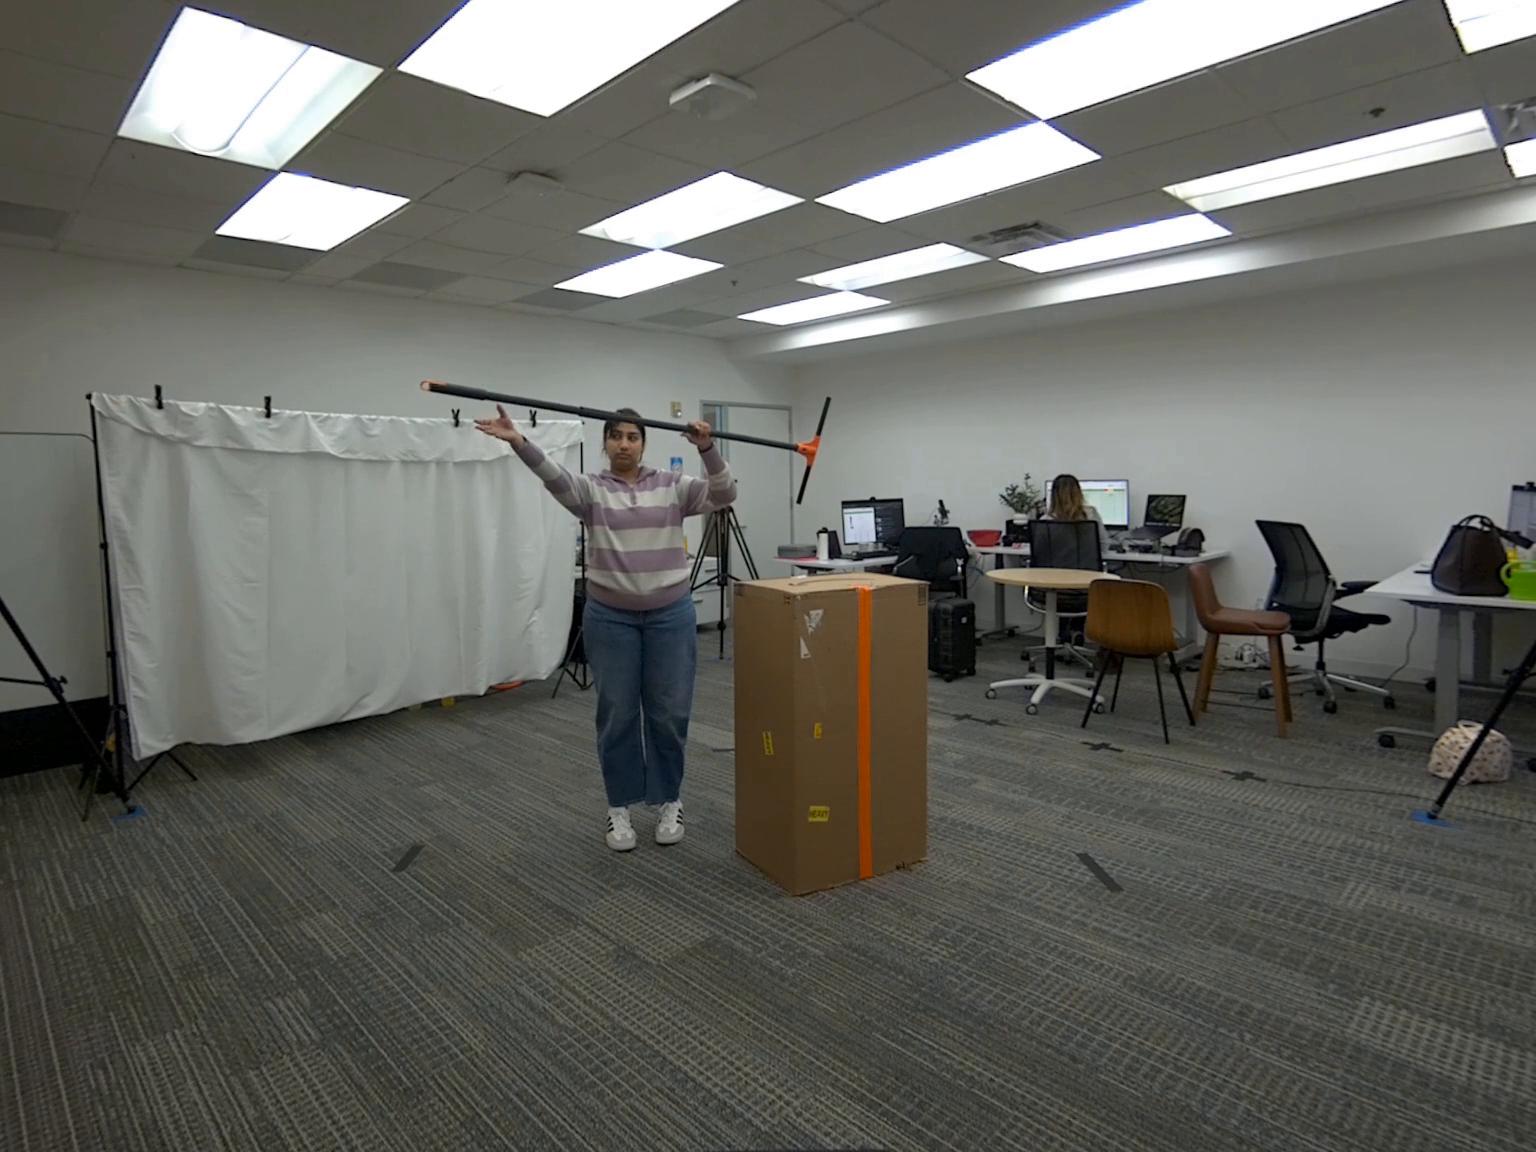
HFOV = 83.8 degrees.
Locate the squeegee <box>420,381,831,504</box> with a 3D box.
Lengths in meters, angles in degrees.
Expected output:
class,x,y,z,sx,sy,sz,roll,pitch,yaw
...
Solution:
class,x,y,z,sx,sy,sz,roll,pitch,yaw
squeegee,-0.404,-0.514,2.930,1.493,0.433,0.055,3,21,-36
